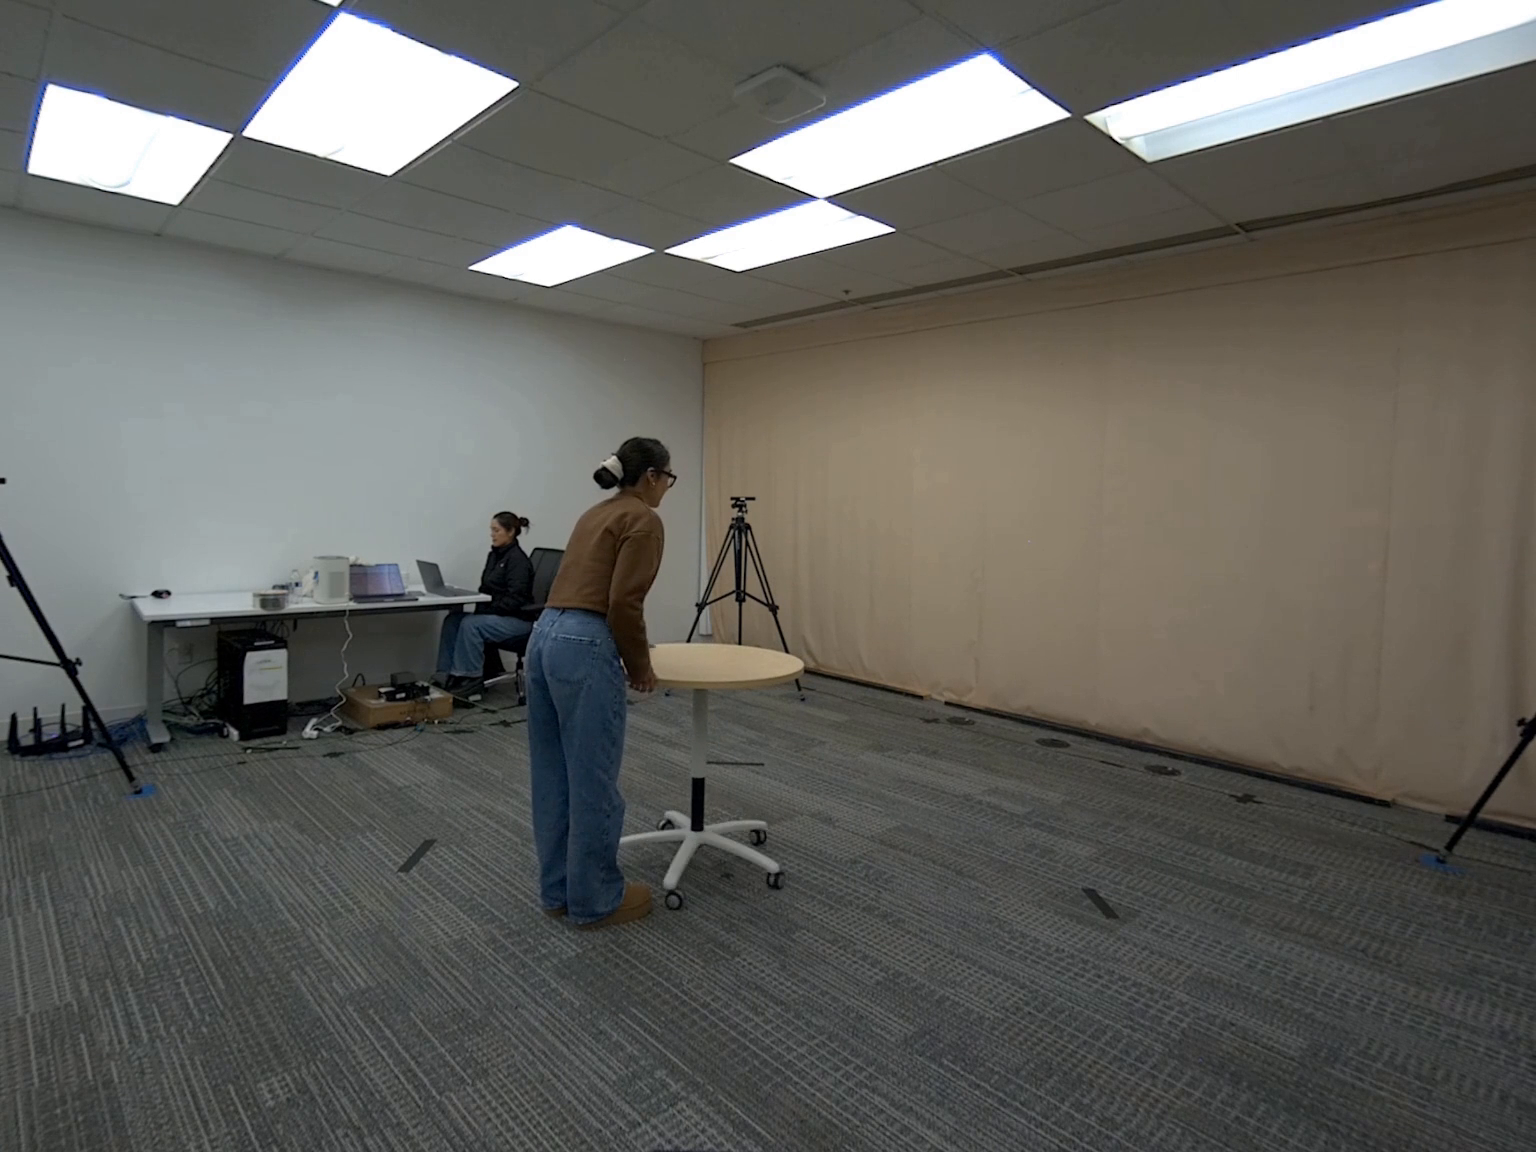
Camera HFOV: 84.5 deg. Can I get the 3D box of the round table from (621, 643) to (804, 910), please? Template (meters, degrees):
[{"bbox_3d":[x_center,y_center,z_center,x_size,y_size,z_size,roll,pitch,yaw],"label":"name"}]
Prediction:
[{"bbox_3d":[-0.259,0.709,3.159,0.763,0.792,0.766,2,4,-1],"label":"round table"}]
